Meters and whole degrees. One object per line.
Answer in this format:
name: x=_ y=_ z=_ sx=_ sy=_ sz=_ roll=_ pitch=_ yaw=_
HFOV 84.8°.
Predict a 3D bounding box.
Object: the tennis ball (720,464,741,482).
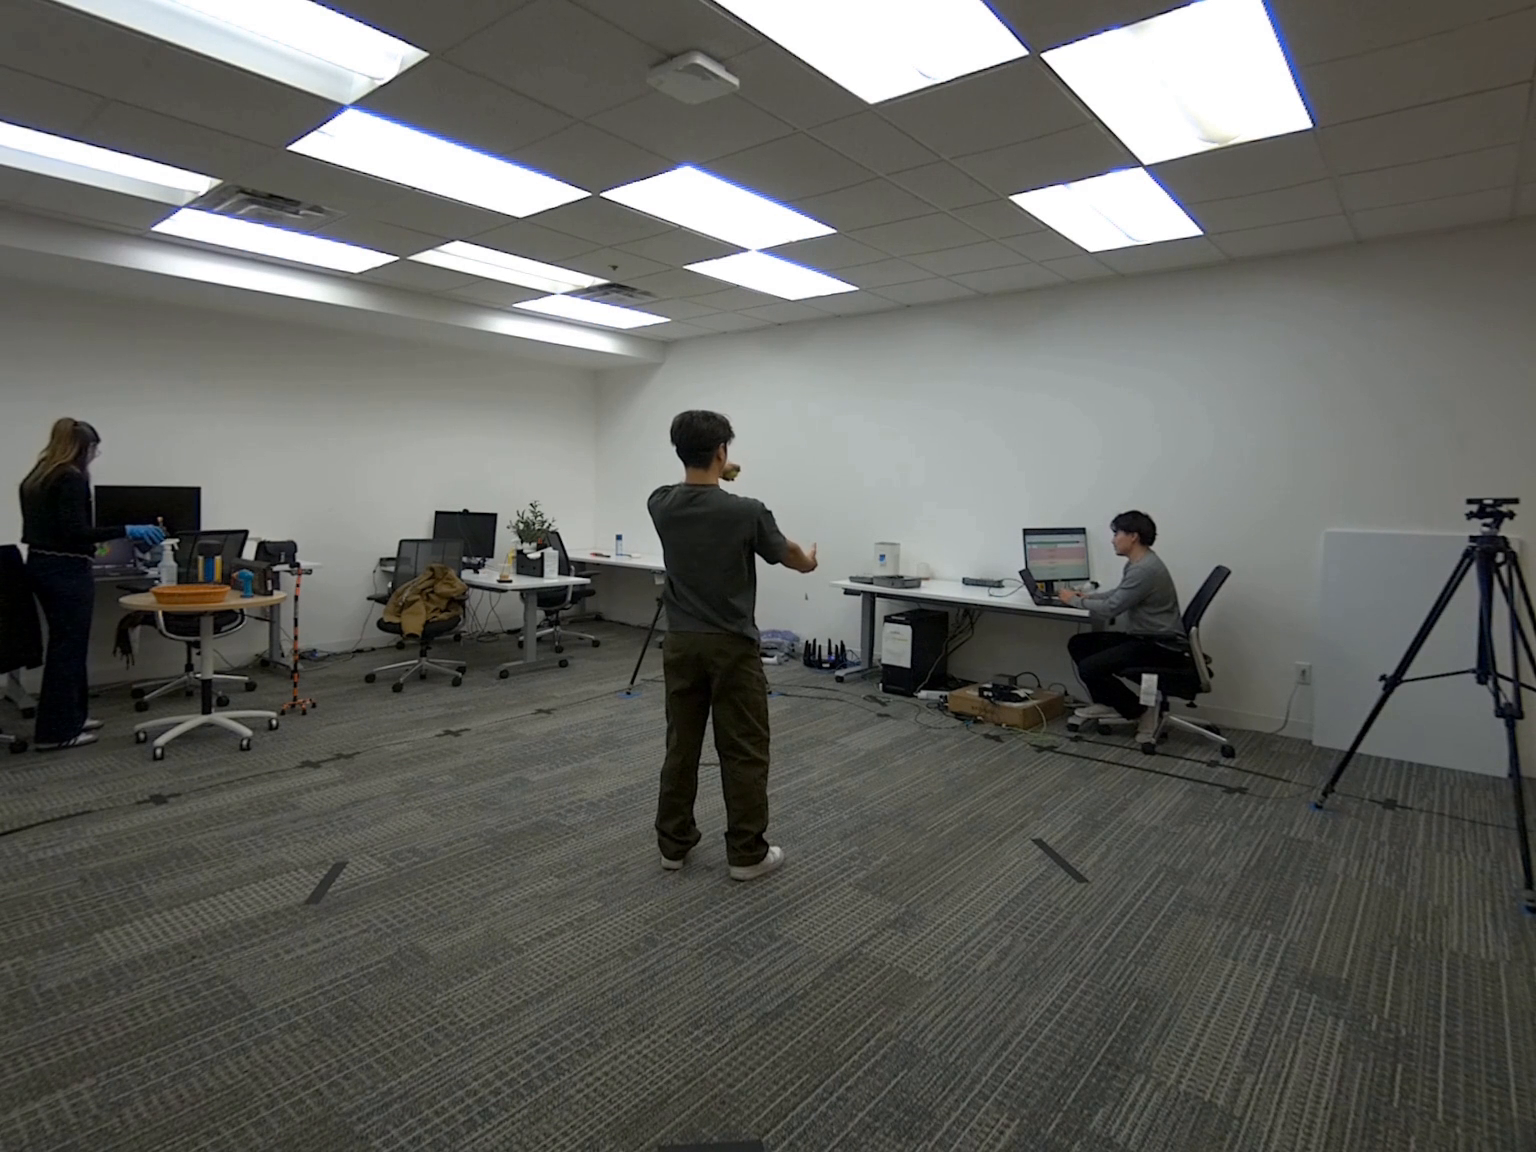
tennis ball: x=-0.187 y=-0.418 z=3.662 sx=0.066 sy=0.066 sz=0.067 roll=1 pitch=4 yaw=-2
